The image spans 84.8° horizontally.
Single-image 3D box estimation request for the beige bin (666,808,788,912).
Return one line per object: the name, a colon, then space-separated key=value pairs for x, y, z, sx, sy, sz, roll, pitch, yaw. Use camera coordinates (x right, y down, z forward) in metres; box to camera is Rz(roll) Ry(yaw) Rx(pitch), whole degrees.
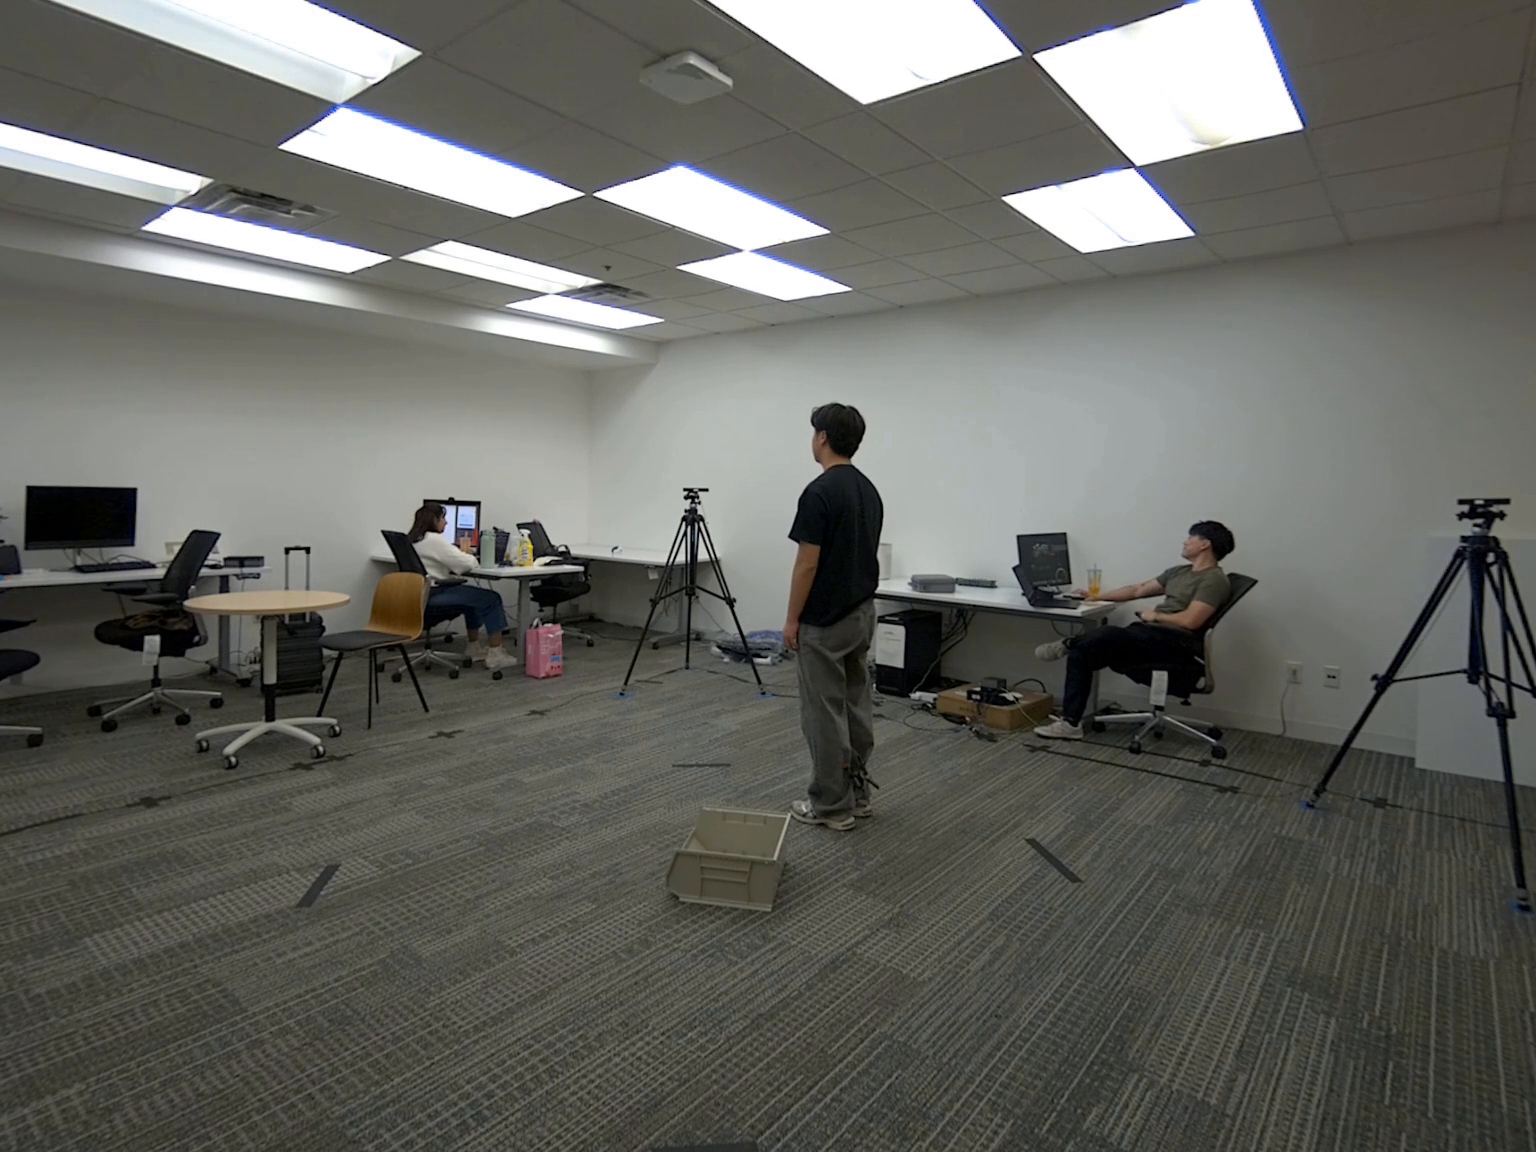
beige bin: x=-0.141 y=0.991 z=3.025 sx=0.382 sy=0.188 sz=0.419 roll=3 pitch=5 yaw=9
